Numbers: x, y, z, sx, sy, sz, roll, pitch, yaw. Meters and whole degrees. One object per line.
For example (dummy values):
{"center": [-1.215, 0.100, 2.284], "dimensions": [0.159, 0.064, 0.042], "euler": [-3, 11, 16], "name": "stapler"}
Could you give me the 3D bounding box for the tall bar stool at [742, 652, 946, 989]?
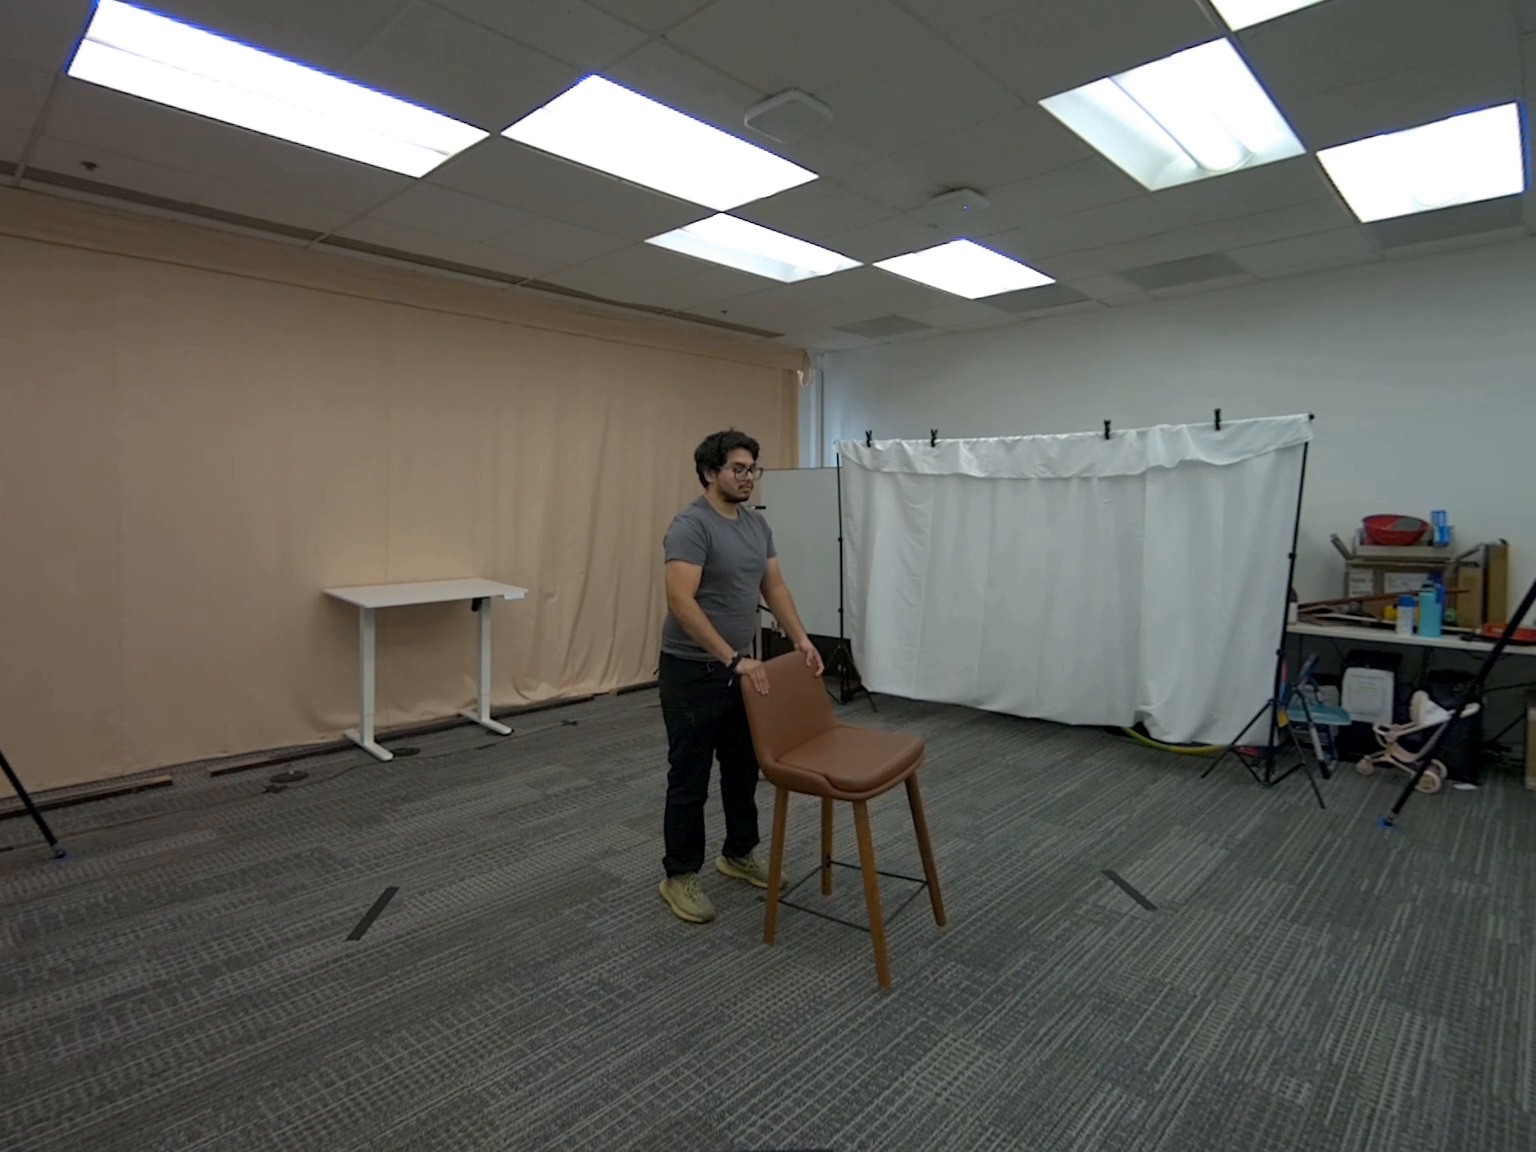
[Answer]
{"center": [0.234, 0.711, 2.659], "dimensions": [0.482, 0.887, 0.444], "euler": [-3, 5, 39], "name": "tall bar stool"}
